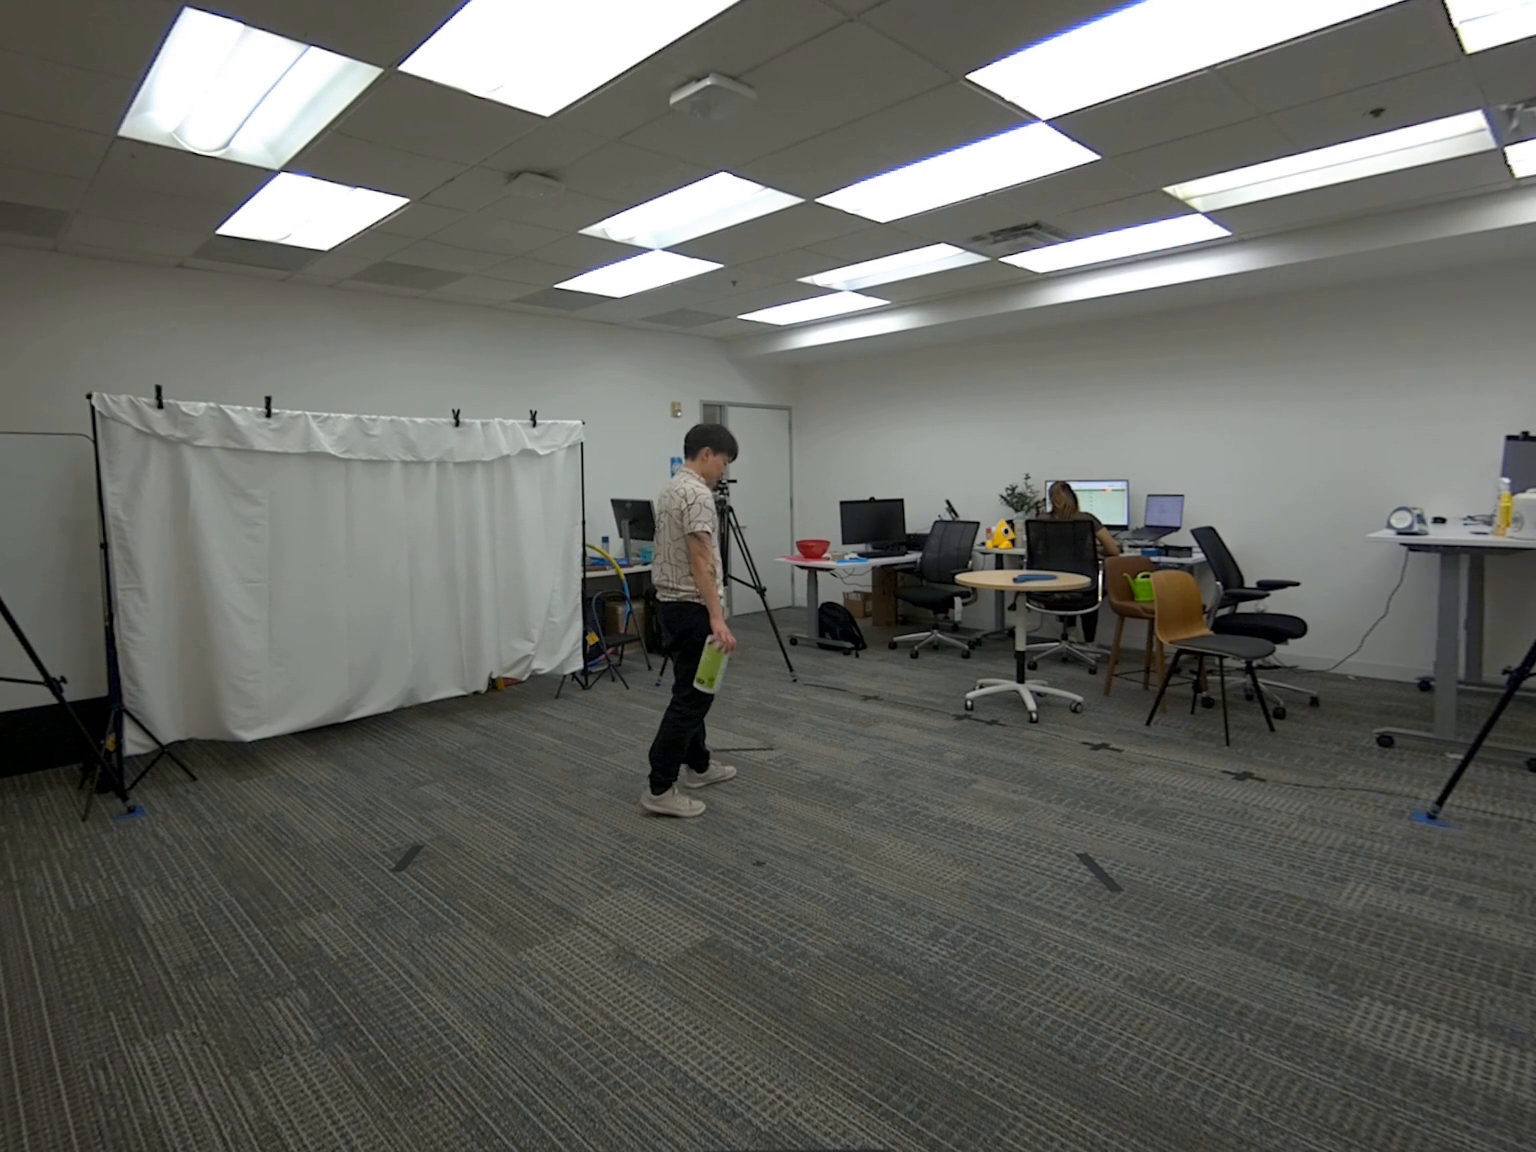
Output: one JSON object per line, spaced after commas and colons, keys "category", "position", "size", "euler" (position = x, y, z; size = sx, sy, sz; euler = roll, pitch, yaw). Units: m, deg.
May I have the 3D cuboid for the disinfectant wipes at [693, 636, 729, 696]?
{"category": "disinfectant wipes", "position": [-0.220, 0.363, 3.482], "size": [0.117, 0.216, 0.119], "euler": [15, 10, -4]}
